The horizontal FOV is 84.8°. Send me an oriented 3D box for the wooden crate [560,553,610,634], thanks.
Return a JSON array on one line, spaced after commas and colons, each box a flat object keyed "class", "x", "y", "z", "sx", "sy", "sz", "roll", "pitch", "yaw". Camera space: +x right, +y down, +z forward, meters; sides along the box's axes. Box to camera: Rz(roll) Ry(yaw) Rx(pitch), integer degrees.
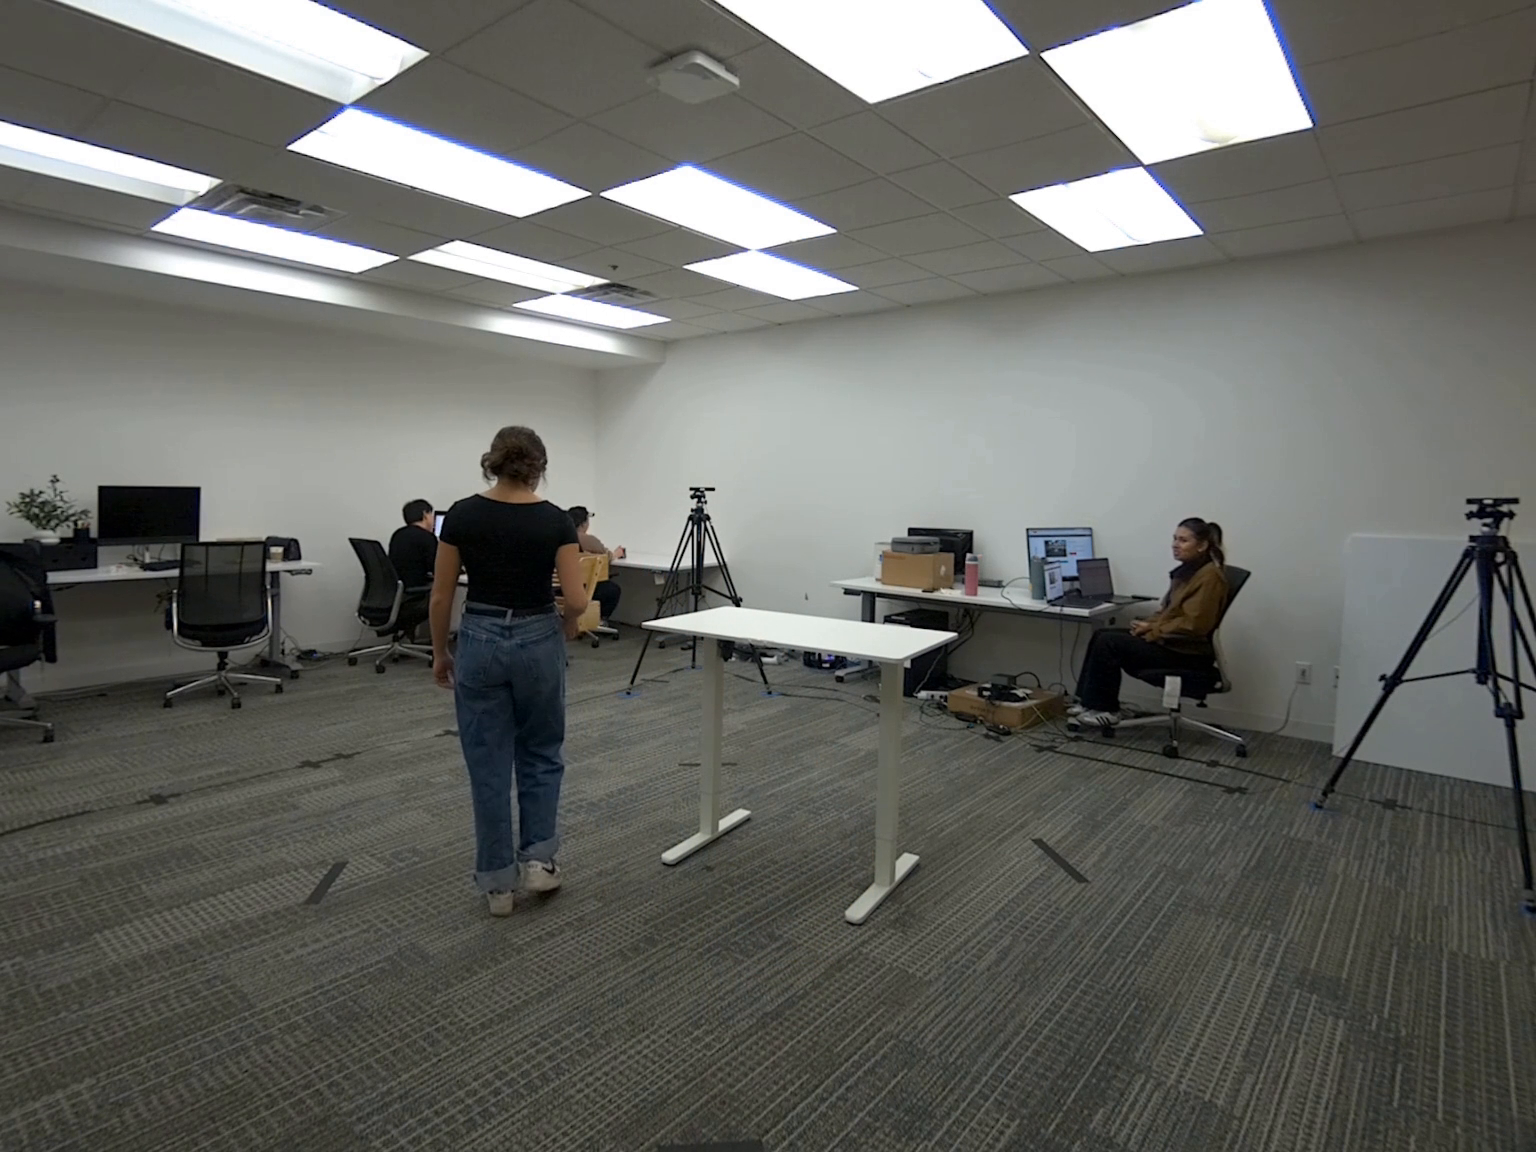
[{"class": "wooden crate", "x": -0.805, "y": 0.051, "z": 3.109, "sx": 0.334, "sy": 0.272, "sz": 0.295, "roll": 4, "pitch": 6, "yaw": 28}]
